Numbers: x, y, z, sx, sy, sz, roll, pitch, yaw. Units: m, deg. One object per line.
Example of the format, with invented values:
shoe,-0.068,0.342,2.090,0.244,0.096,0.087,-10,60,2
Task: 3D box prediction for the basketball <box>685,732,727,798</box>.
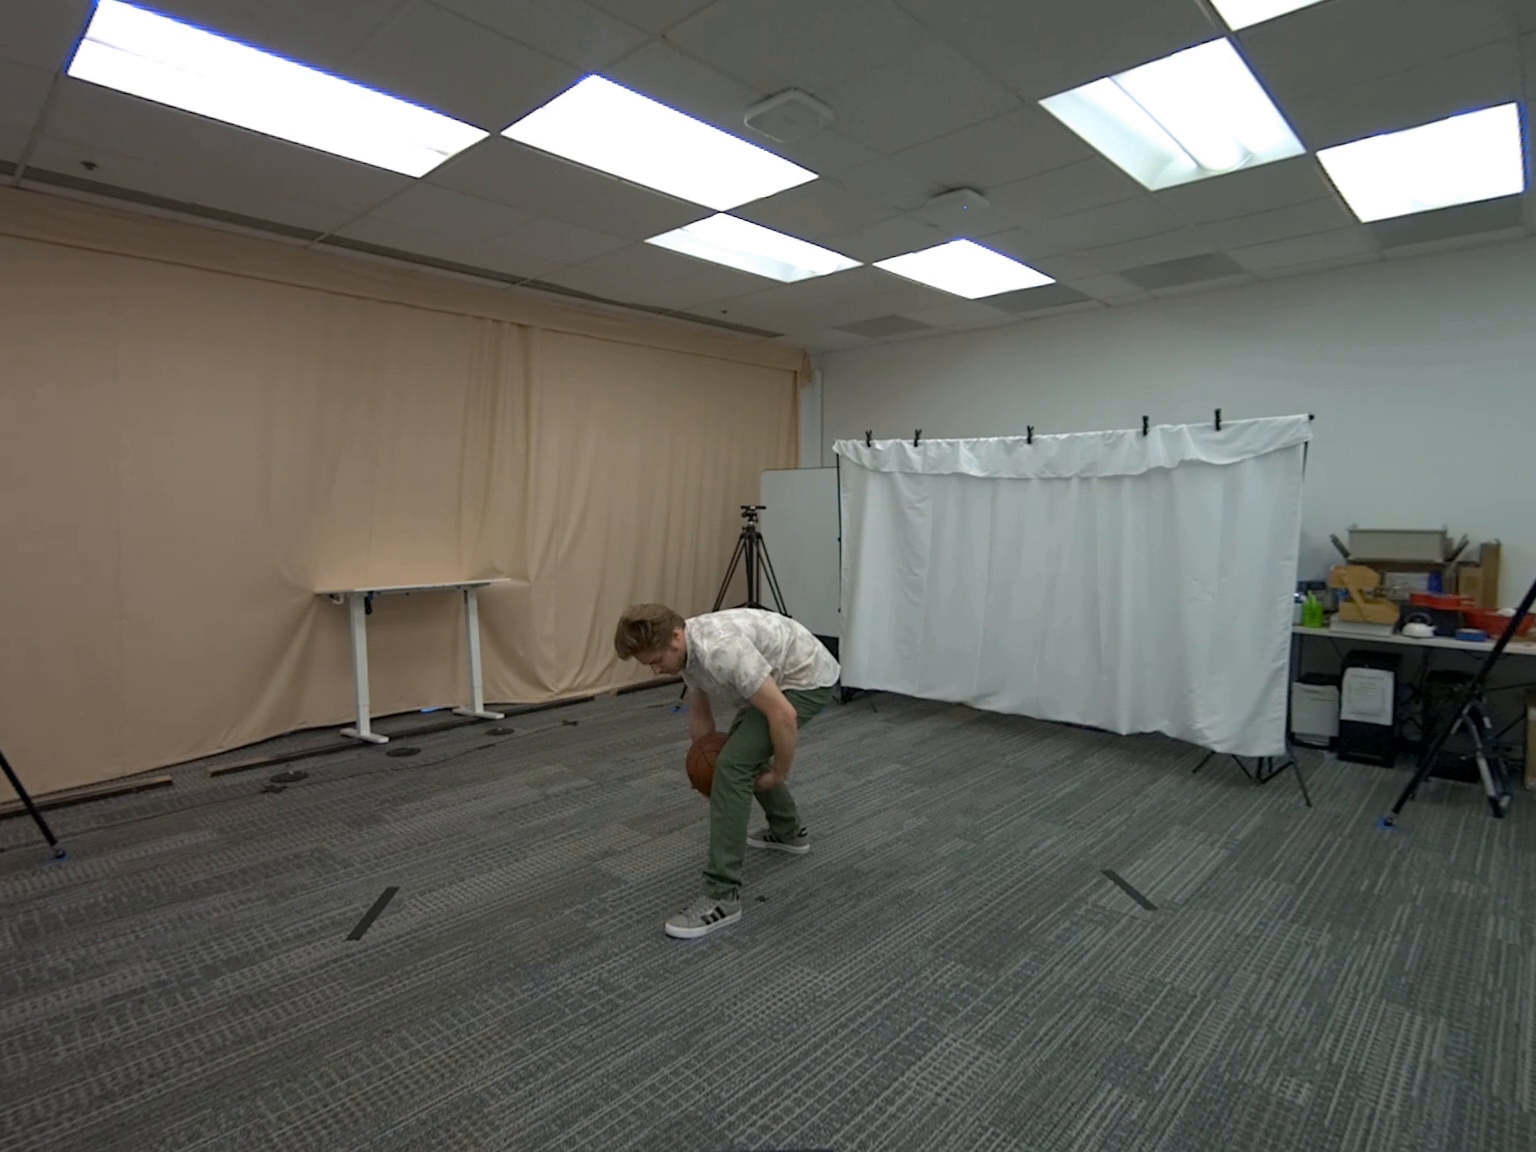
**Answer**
basketball,-0.202,0.716,3.190,0.236,0.235,0.237,0,4,-2
